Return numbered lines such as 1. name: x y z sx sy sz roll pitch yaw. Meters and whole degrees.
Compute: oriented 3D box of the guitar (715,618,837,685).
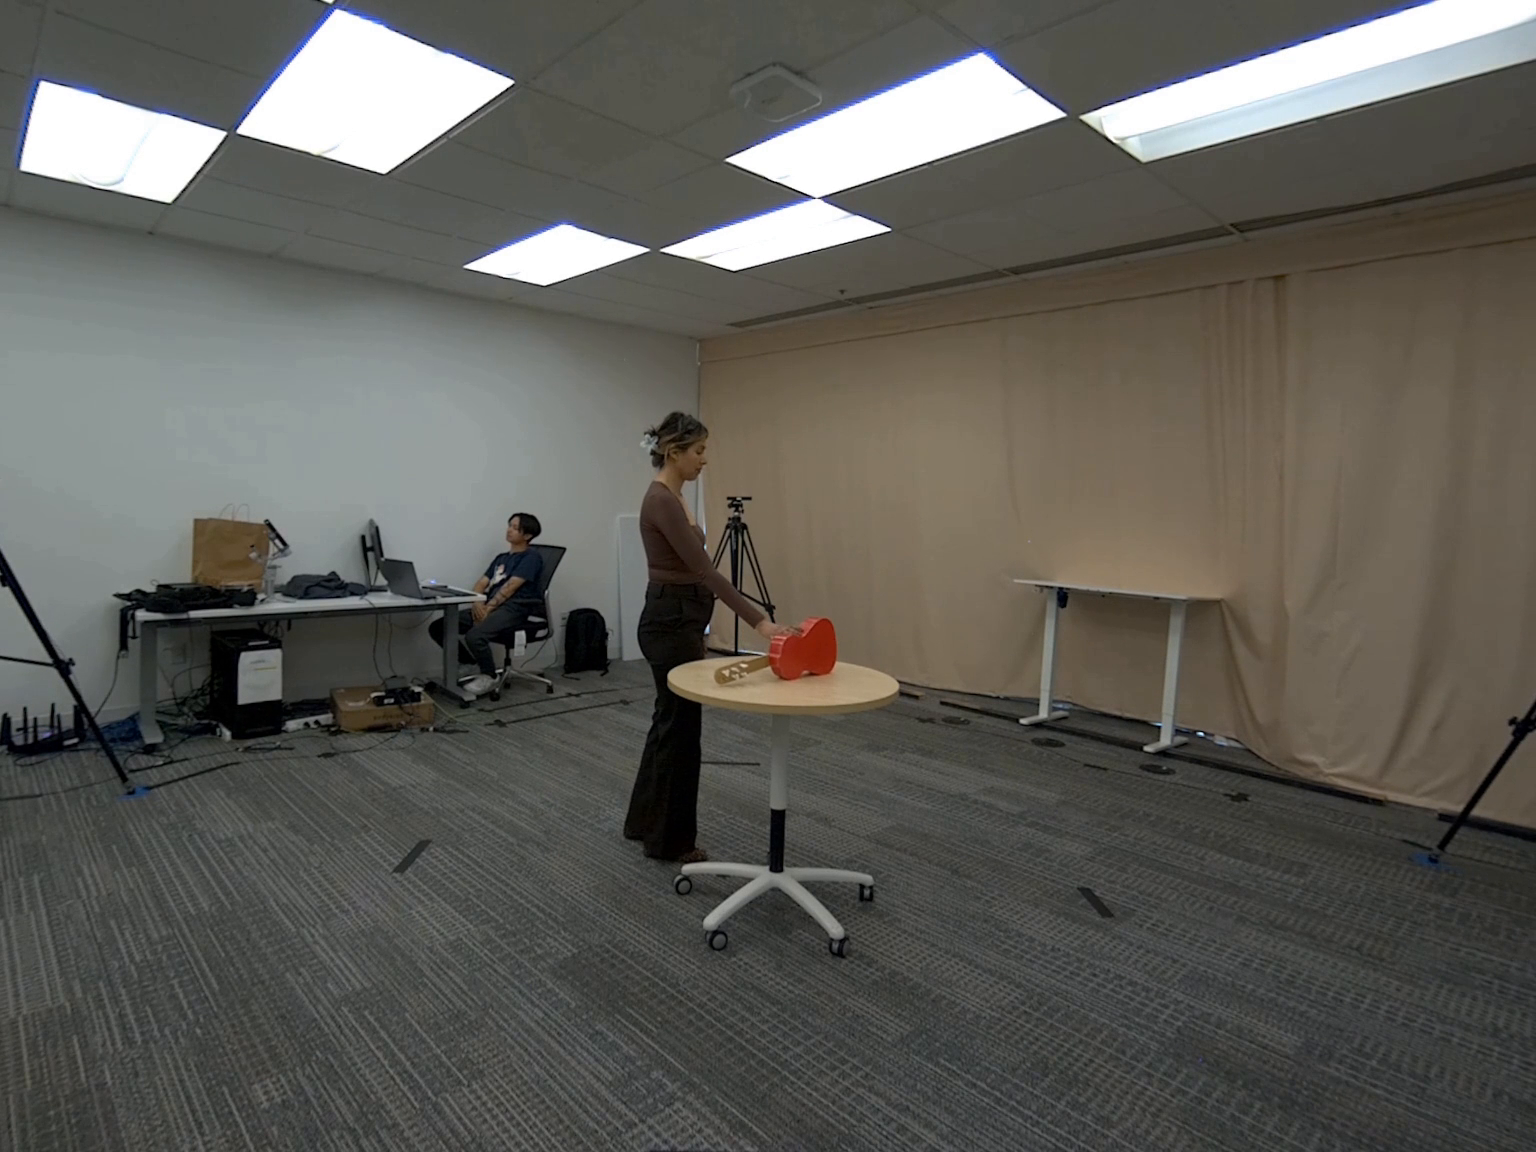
1. guitar: 0.032 0.301 2.778 0.491 0.190 0.072 -25 20 -38
